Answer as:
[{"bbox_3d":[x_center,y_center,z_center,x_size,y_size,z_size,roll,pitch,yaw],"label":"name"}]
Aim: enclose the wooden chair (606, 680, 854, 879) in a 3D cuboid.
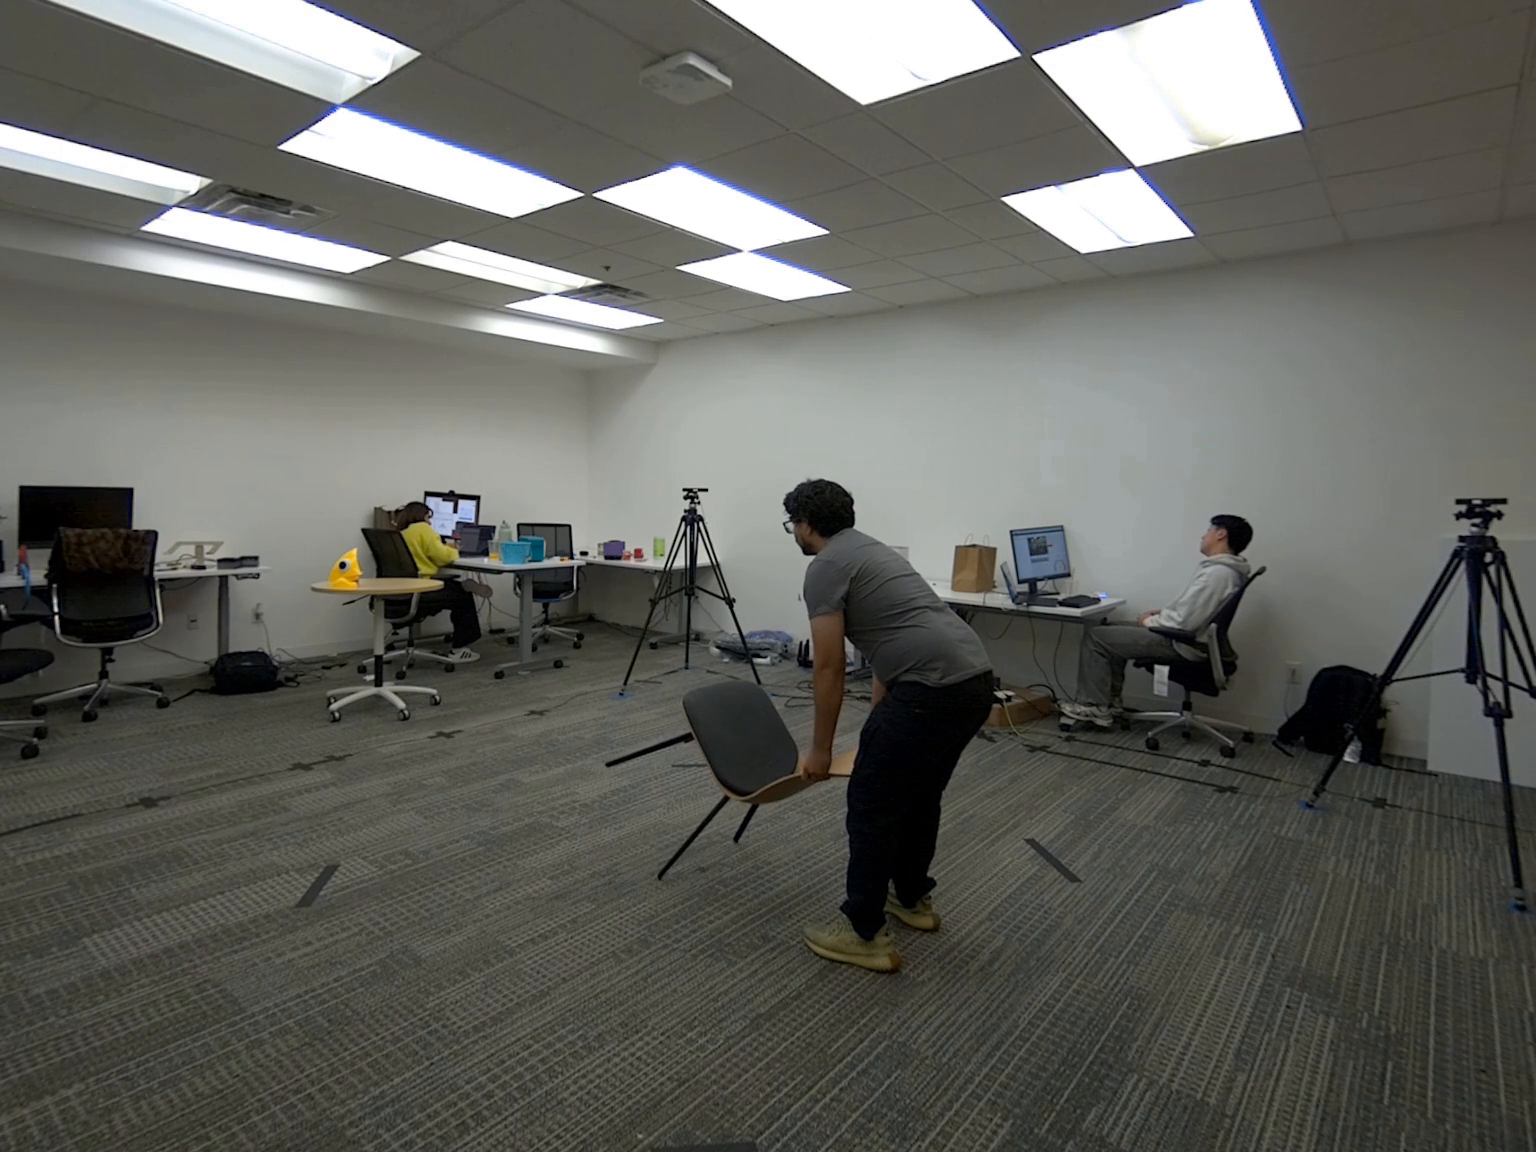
[{"bbox_3d":[-0.105,0.625,3.052,0.883,0.536,0.464,-38,-21,33],"label":"wooden chair"}]
